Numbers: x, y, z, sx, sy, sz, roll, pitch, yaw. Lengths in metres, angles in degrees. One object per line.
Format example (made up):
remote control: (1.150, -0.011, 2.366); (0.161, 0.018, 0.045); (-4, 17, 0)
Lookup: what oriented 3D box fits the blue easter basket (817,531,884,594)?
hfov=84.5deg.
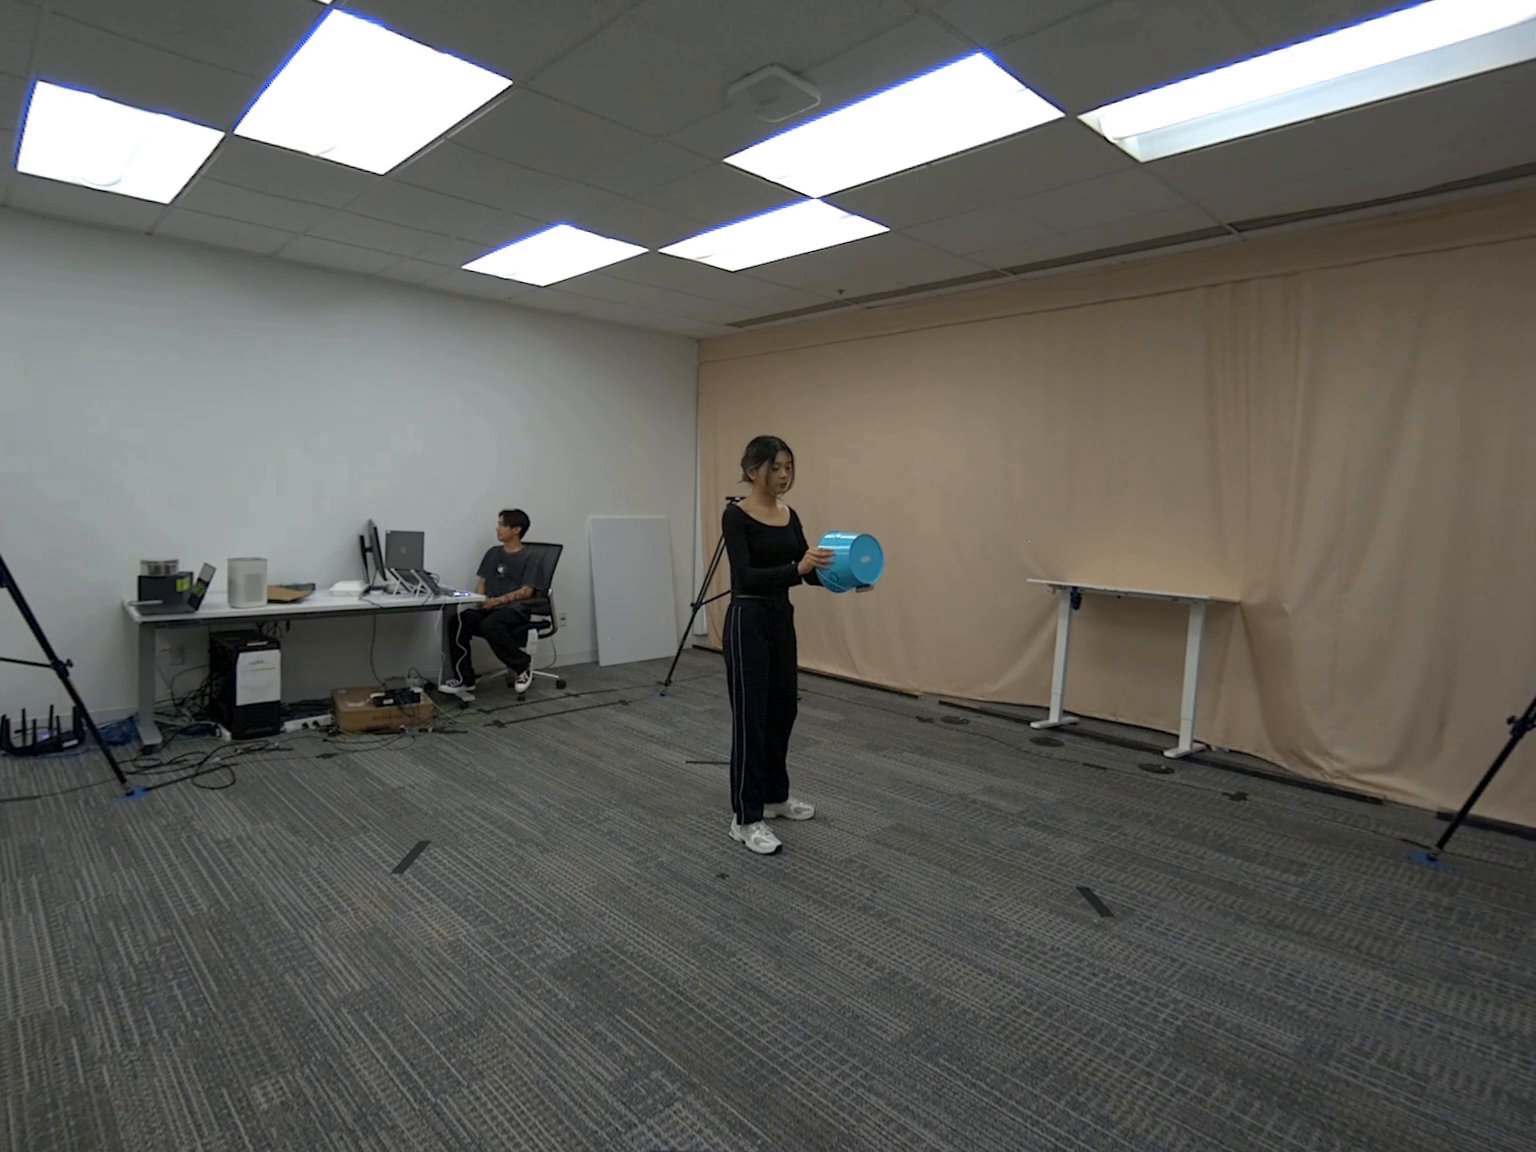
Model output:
blue easter basket: (0.297, -0.053, 3.095); (0.238, 0.243, 0.159); (-2, 2, -42)
